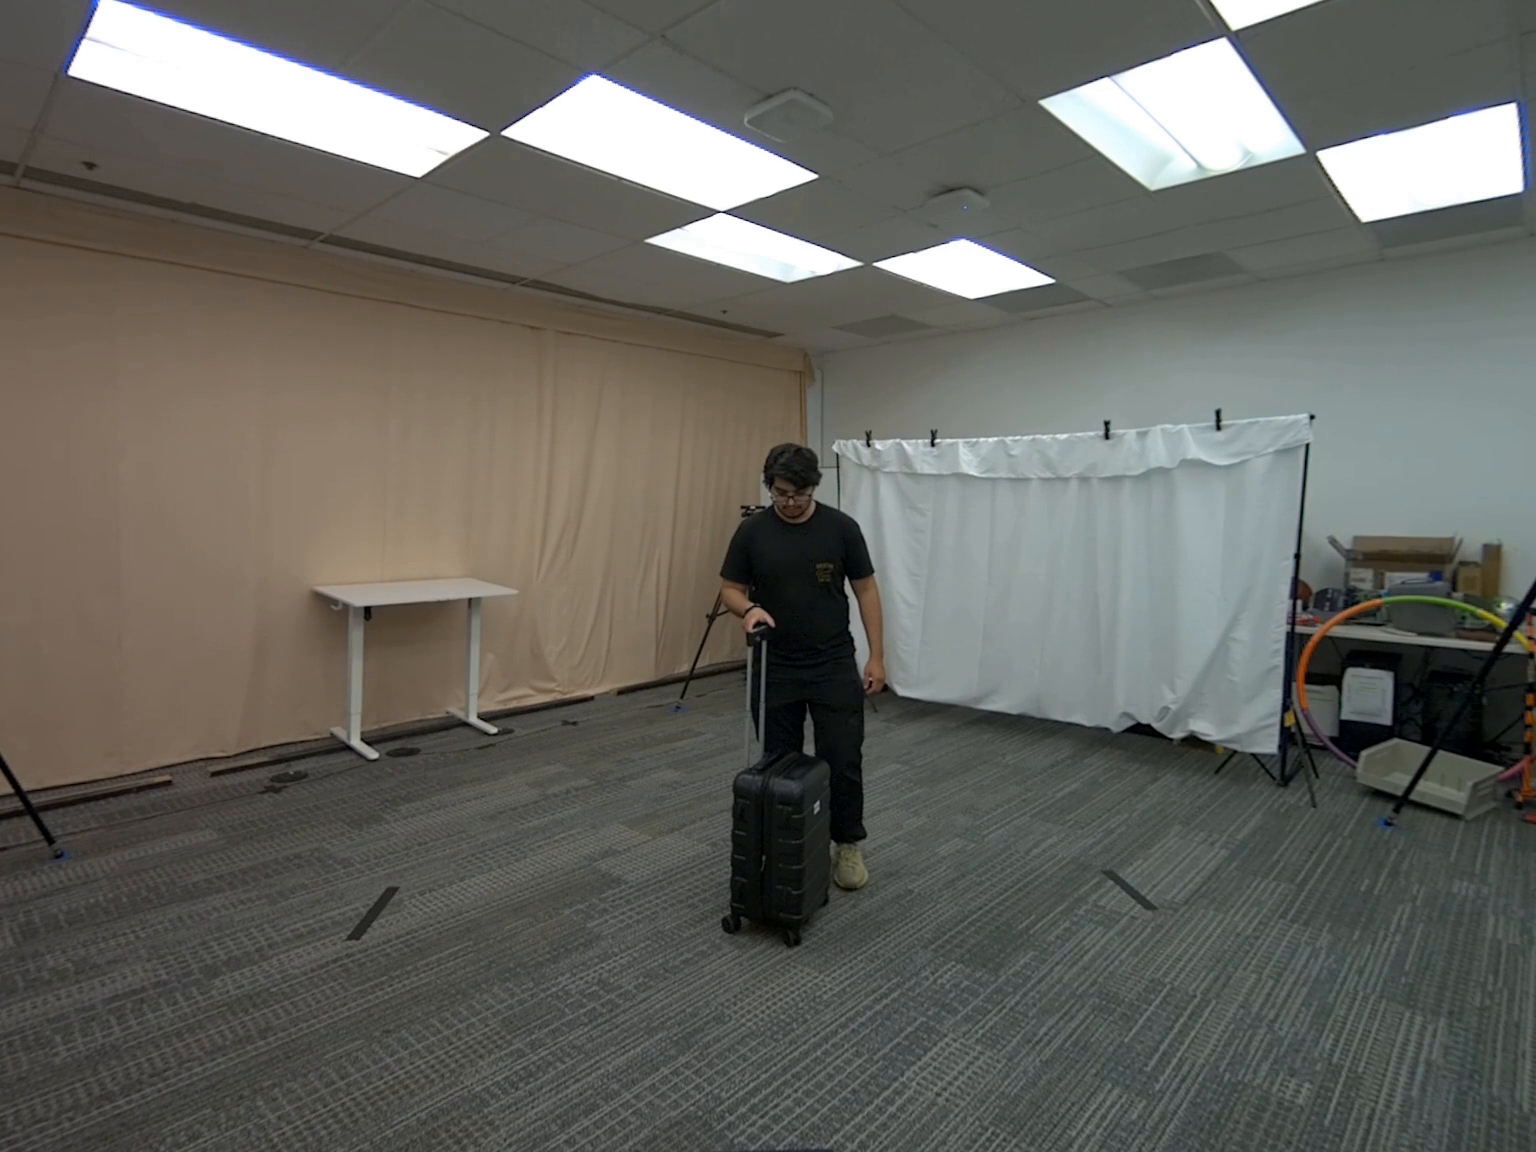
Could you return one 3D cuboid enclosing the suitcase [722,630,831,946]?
[{"bbox_3d":[0.055,0.682,2.801,0.263,0.976,0.376,4,4,21],"label":"suitcase"}]
